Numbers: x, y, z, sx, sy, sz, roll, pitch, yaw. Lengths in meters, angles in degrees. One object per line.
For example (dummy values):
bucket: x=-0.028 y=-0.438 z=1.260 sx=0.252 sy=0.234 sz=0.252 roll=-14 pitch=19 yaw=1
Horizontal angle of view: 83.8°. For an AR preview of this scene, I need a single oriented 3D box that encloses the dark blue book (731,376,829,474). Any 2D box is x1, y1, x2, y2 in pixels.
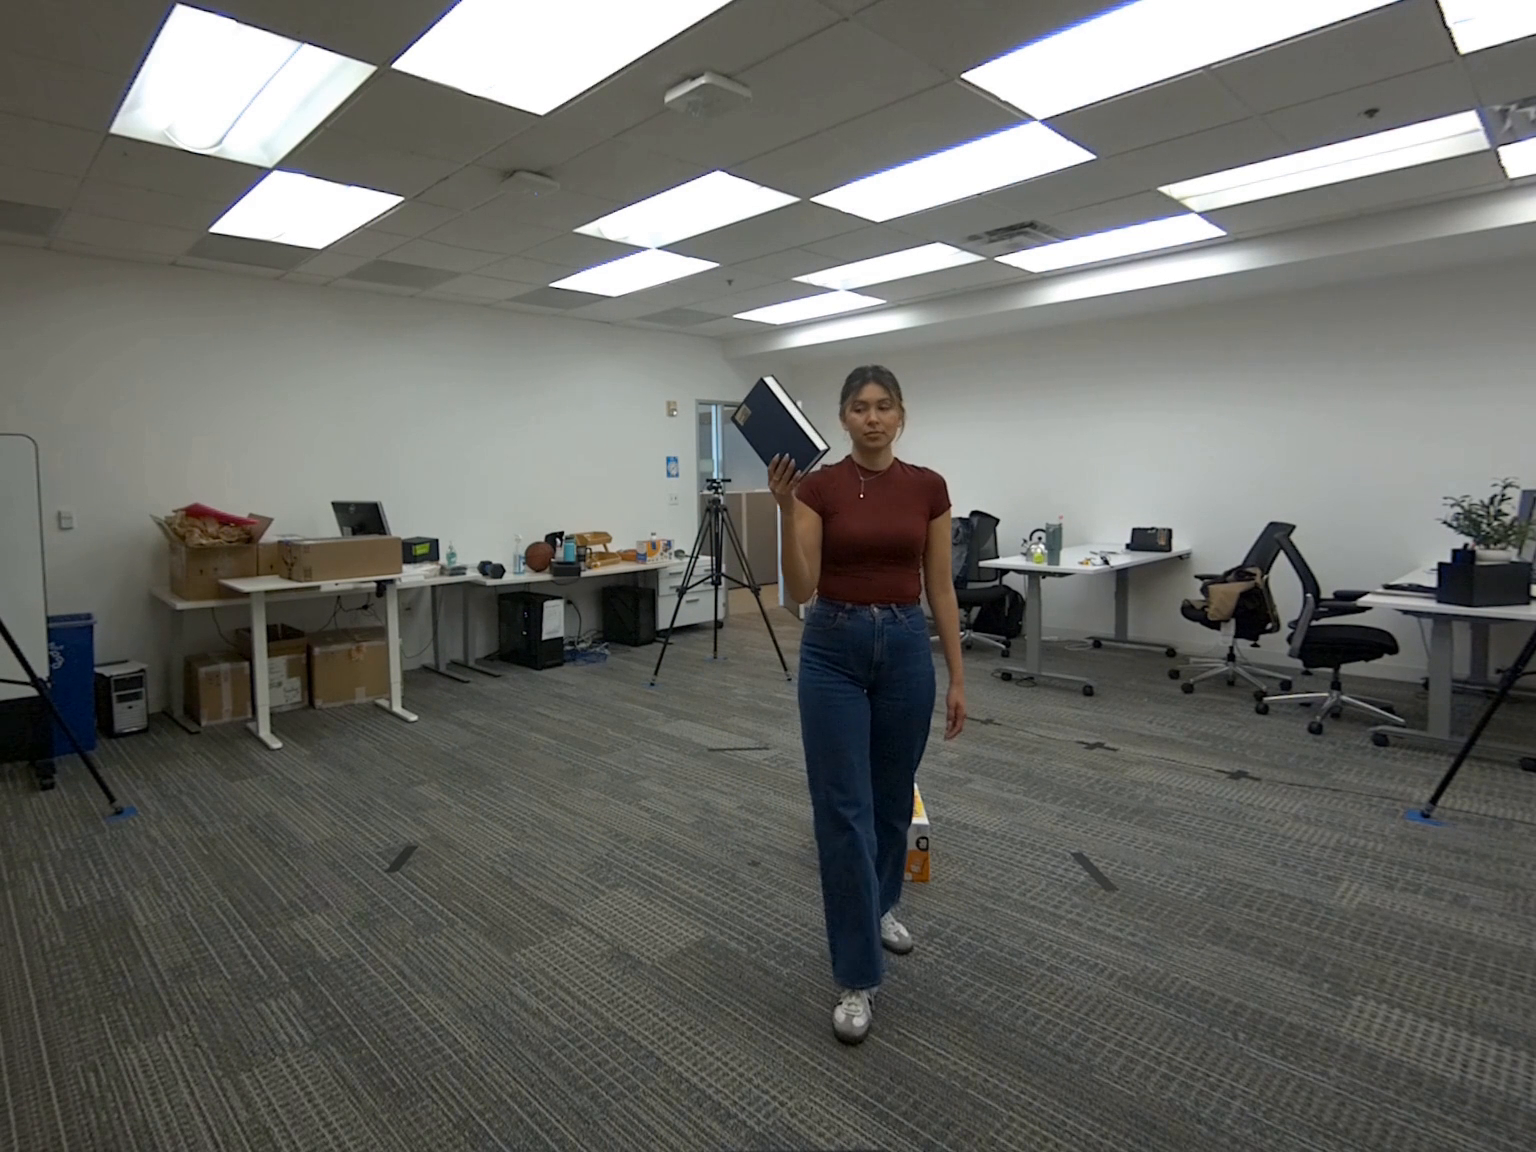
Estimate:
dark blue book: x=0.030 y=-0.363 z=2.143 sx=0.044 sy=0.250 sz=0.163 roll=-22 pitch=-20 yaw=-45
